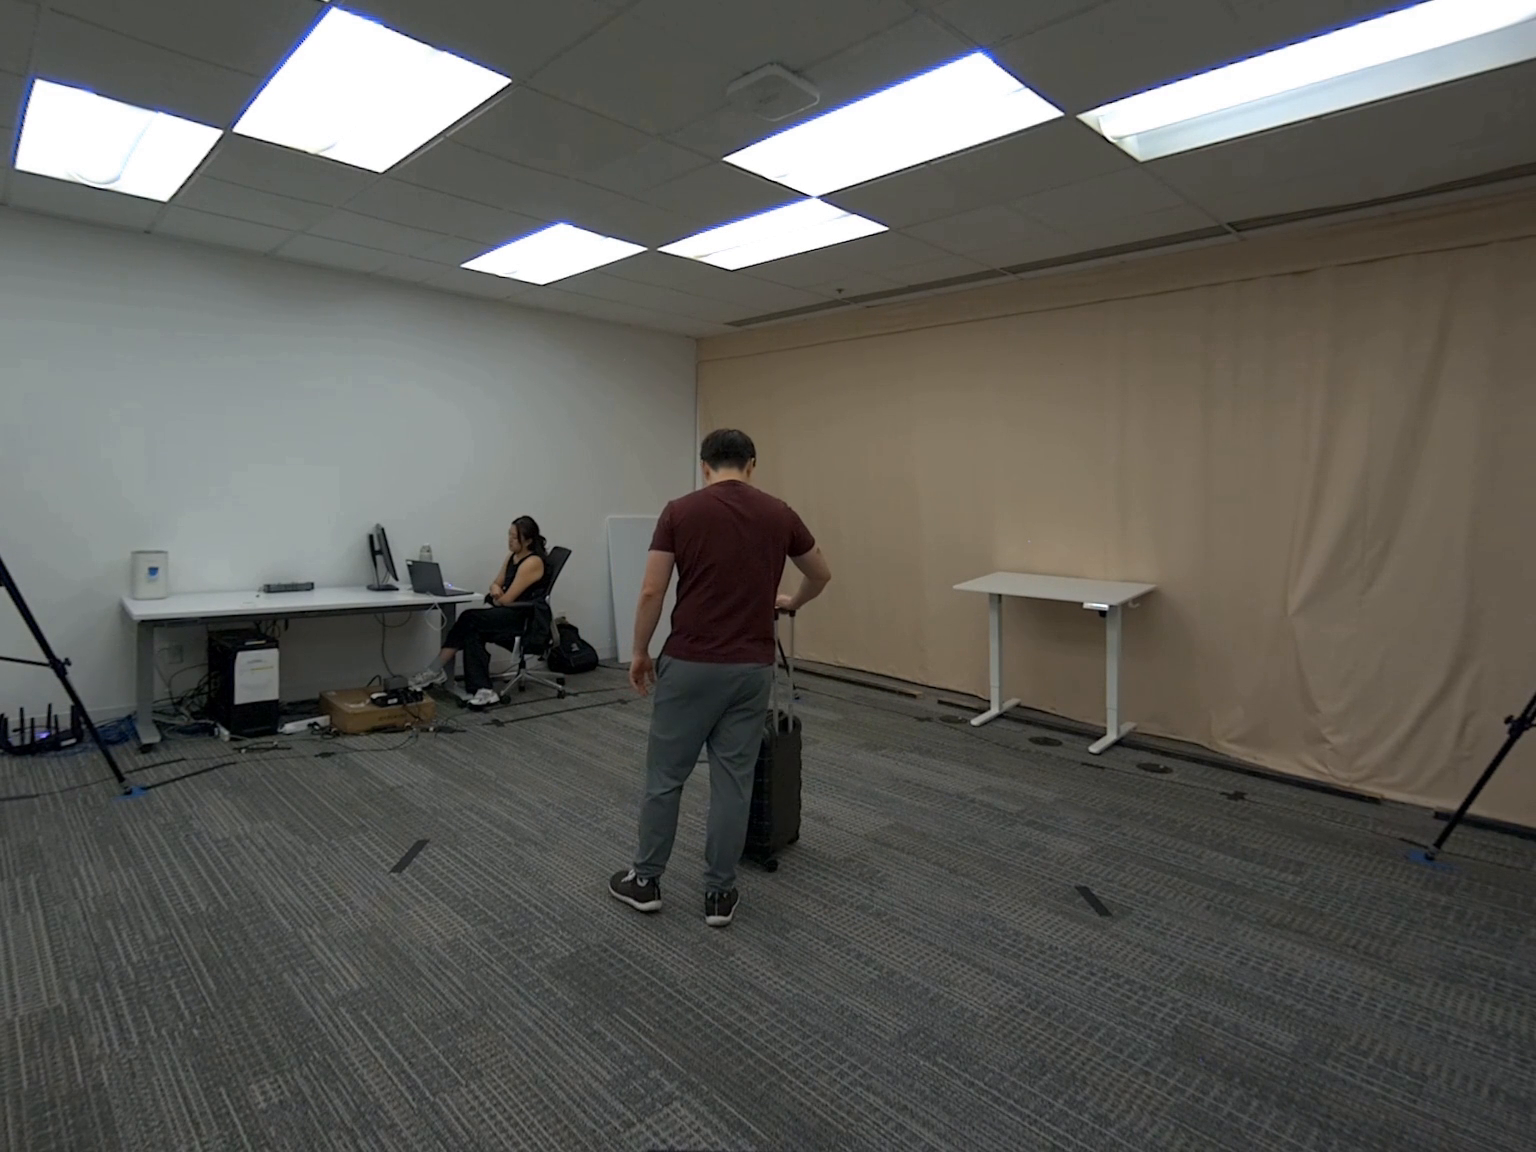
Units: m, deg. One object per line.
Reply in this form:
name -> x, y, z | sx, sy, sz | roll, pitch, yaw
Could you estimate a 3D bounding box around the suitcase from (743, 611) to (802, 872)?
suitcase -> -0.048, 0.614, 3.305 | 0.262, 0.977, 0.377 | 0, 2, 25
